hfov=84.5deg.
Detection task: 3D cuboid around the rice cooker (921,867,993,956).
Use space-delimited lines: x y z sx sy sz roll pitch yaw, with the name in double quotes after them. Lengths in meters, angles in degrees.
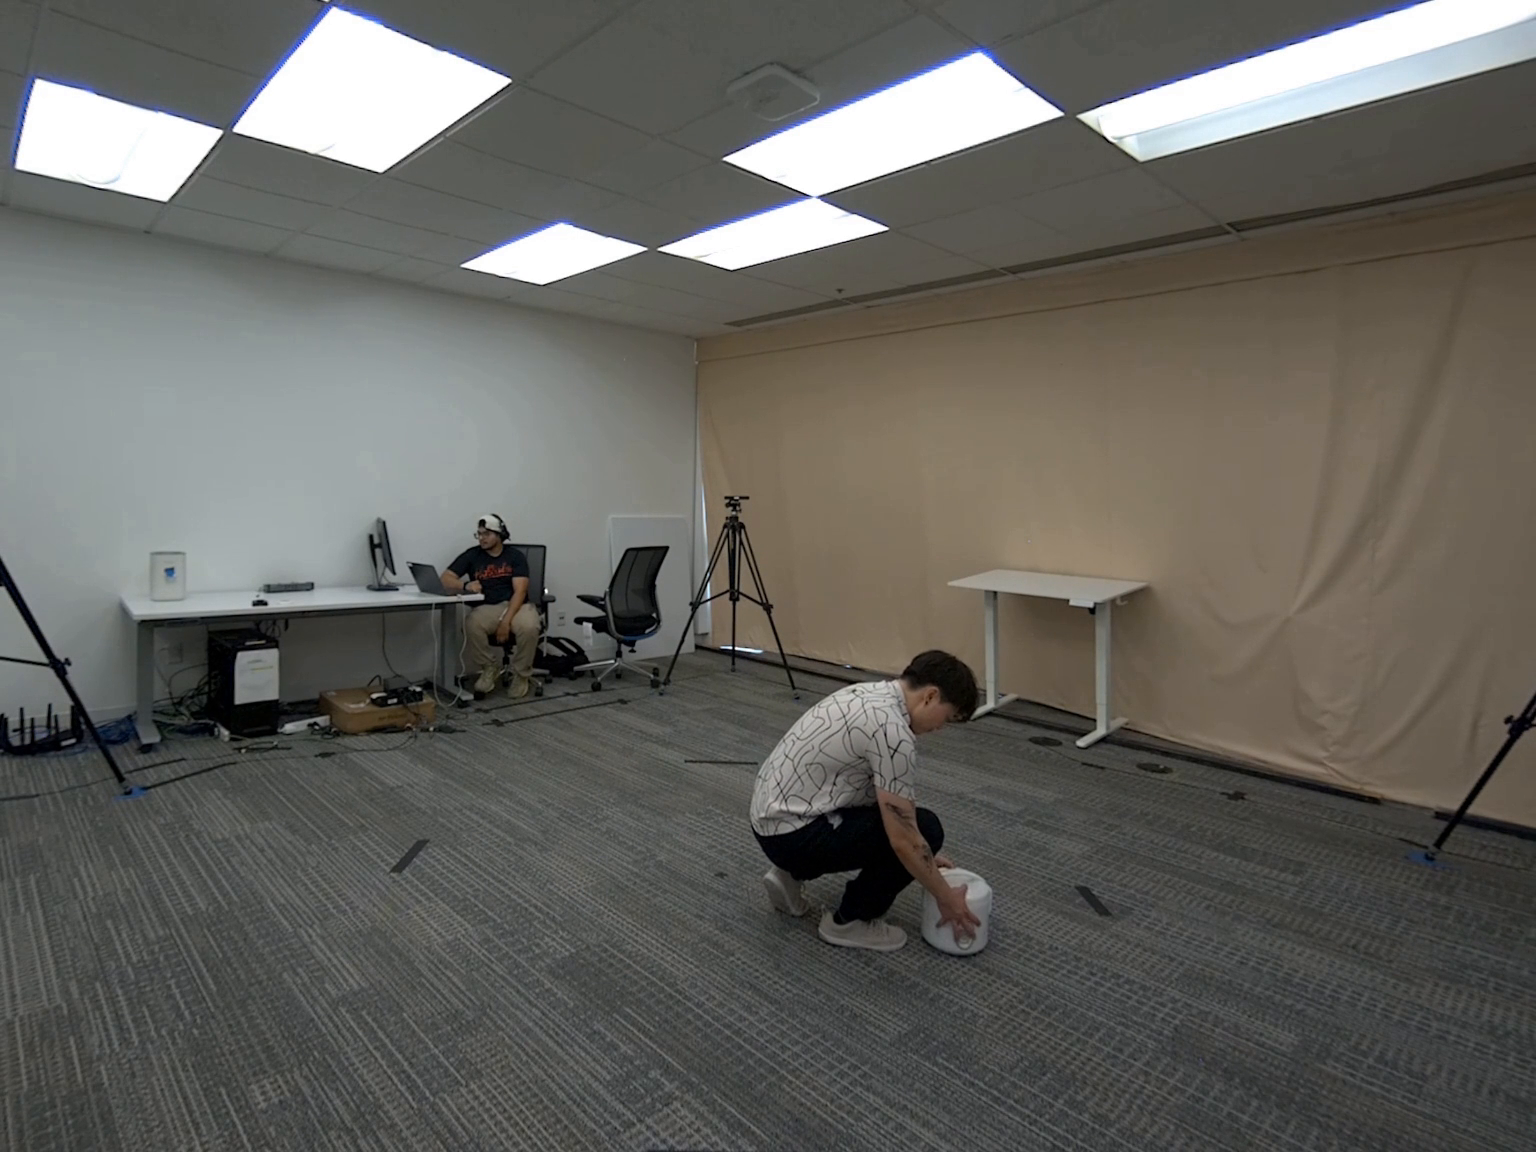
0.590 1.044 2.664 0.220 0.232 0.219 1 4 -5 "rice cooker"
